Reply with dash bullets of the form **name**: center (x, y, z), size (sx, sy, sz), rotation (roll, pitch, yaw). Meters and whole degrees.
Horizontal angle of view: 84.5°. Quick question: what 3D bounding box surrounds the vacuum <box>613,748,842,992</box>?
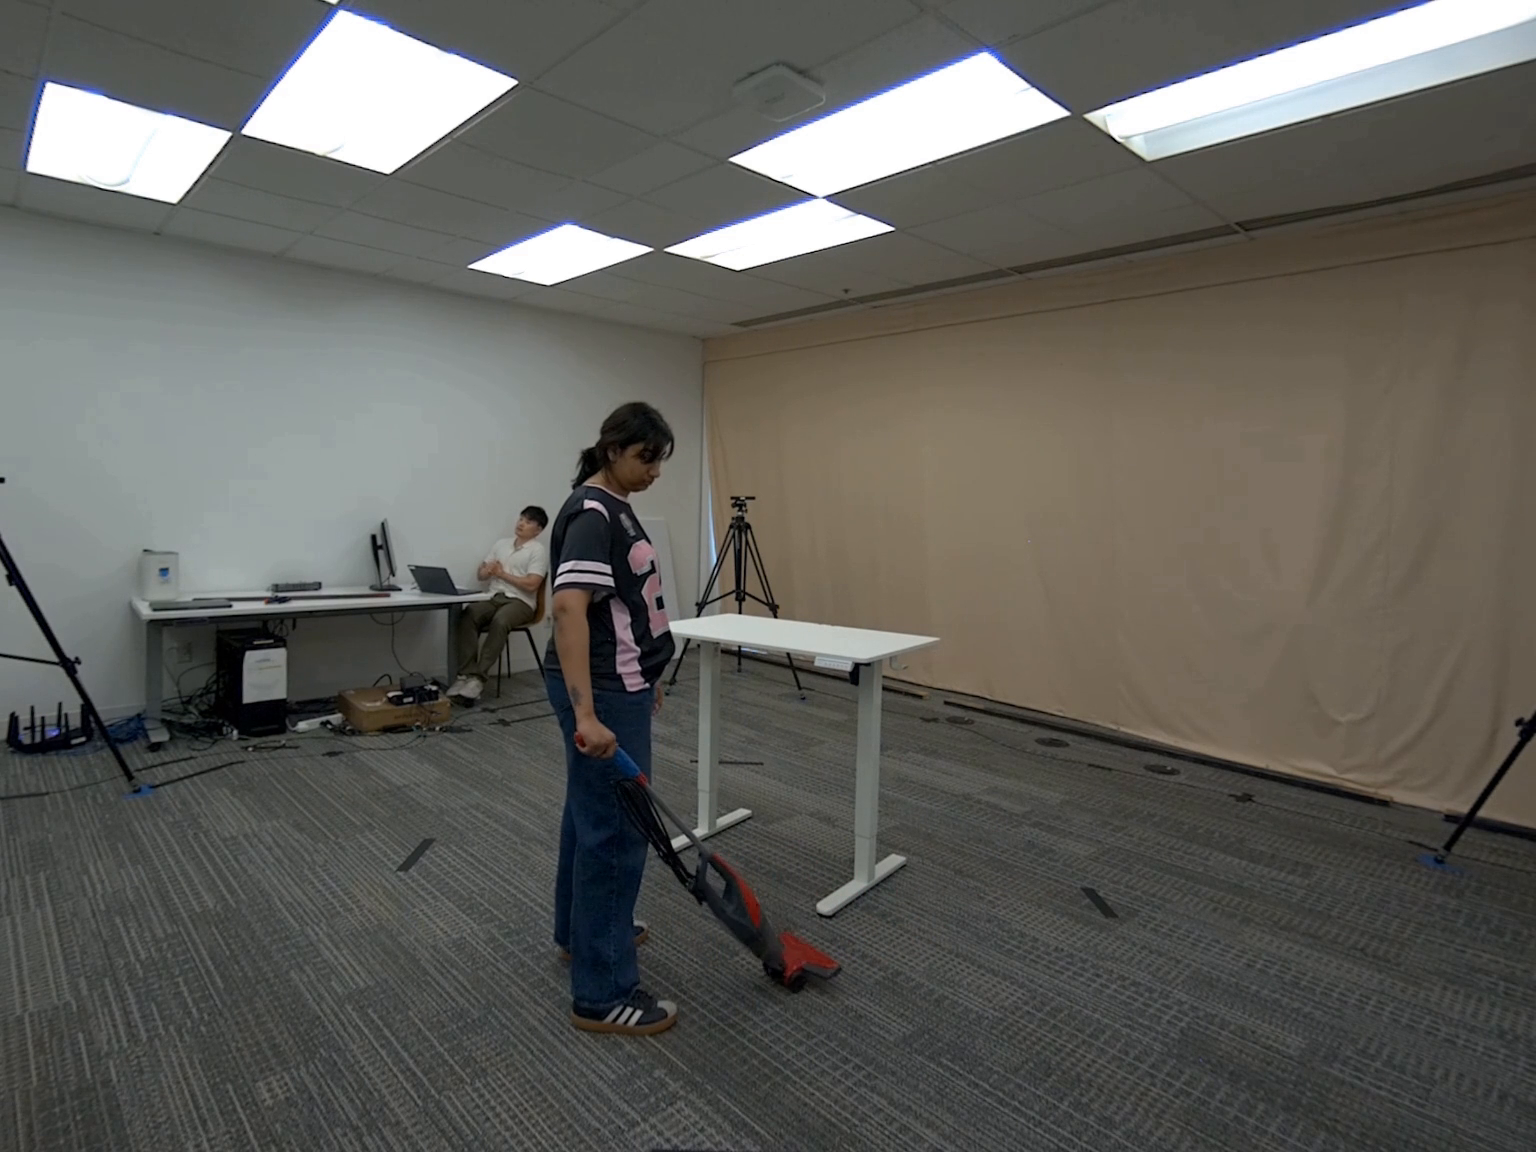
- **vacuum**: center (-0.183, 0.777, 2.232), size (0.258, 1.023, 0.144), rotation (0, 43, 50)
